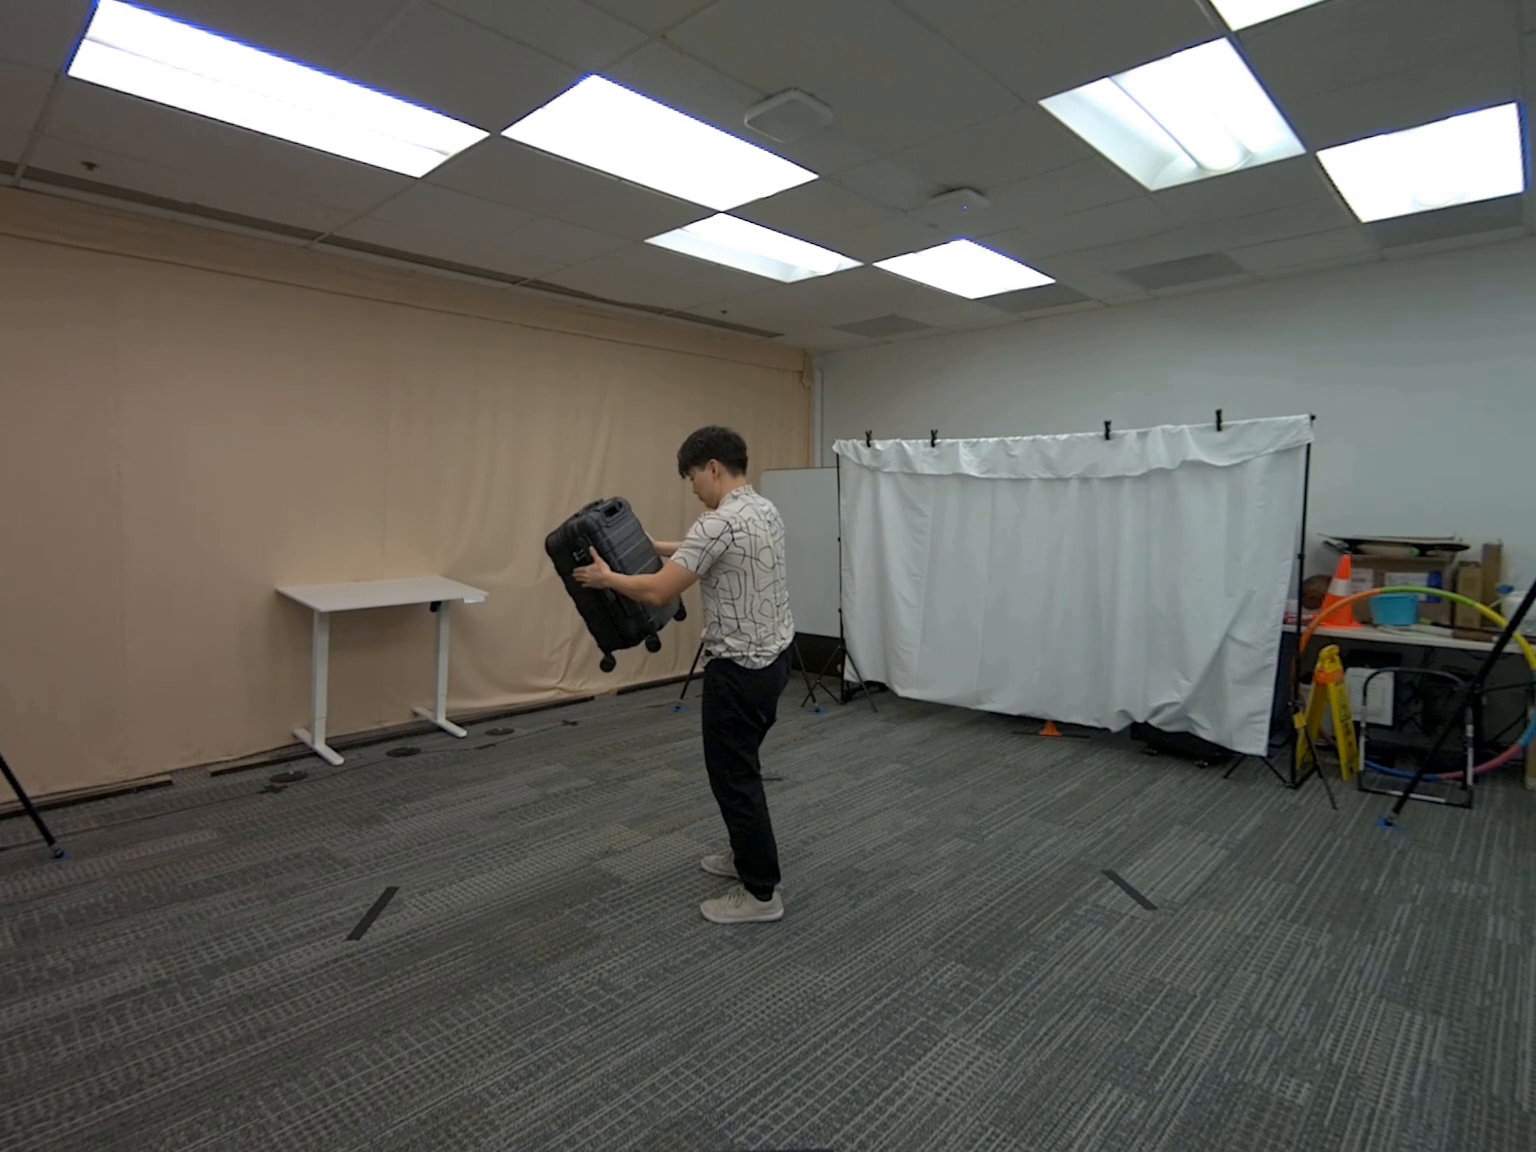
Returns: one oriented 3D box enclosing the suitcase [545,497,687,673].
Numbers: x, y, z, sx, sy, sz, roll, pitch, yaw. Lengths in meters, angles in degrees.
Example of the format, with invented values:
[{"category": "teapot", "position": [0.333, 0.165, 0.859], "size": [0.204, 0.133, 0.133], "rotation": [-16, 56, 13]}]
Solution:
[{"category": "suitcase", "position": [-0.554, 0.000, 3.072], "size": [0.252, 0.545, 0.373], "rotation": [-26, 9, 22]}]
